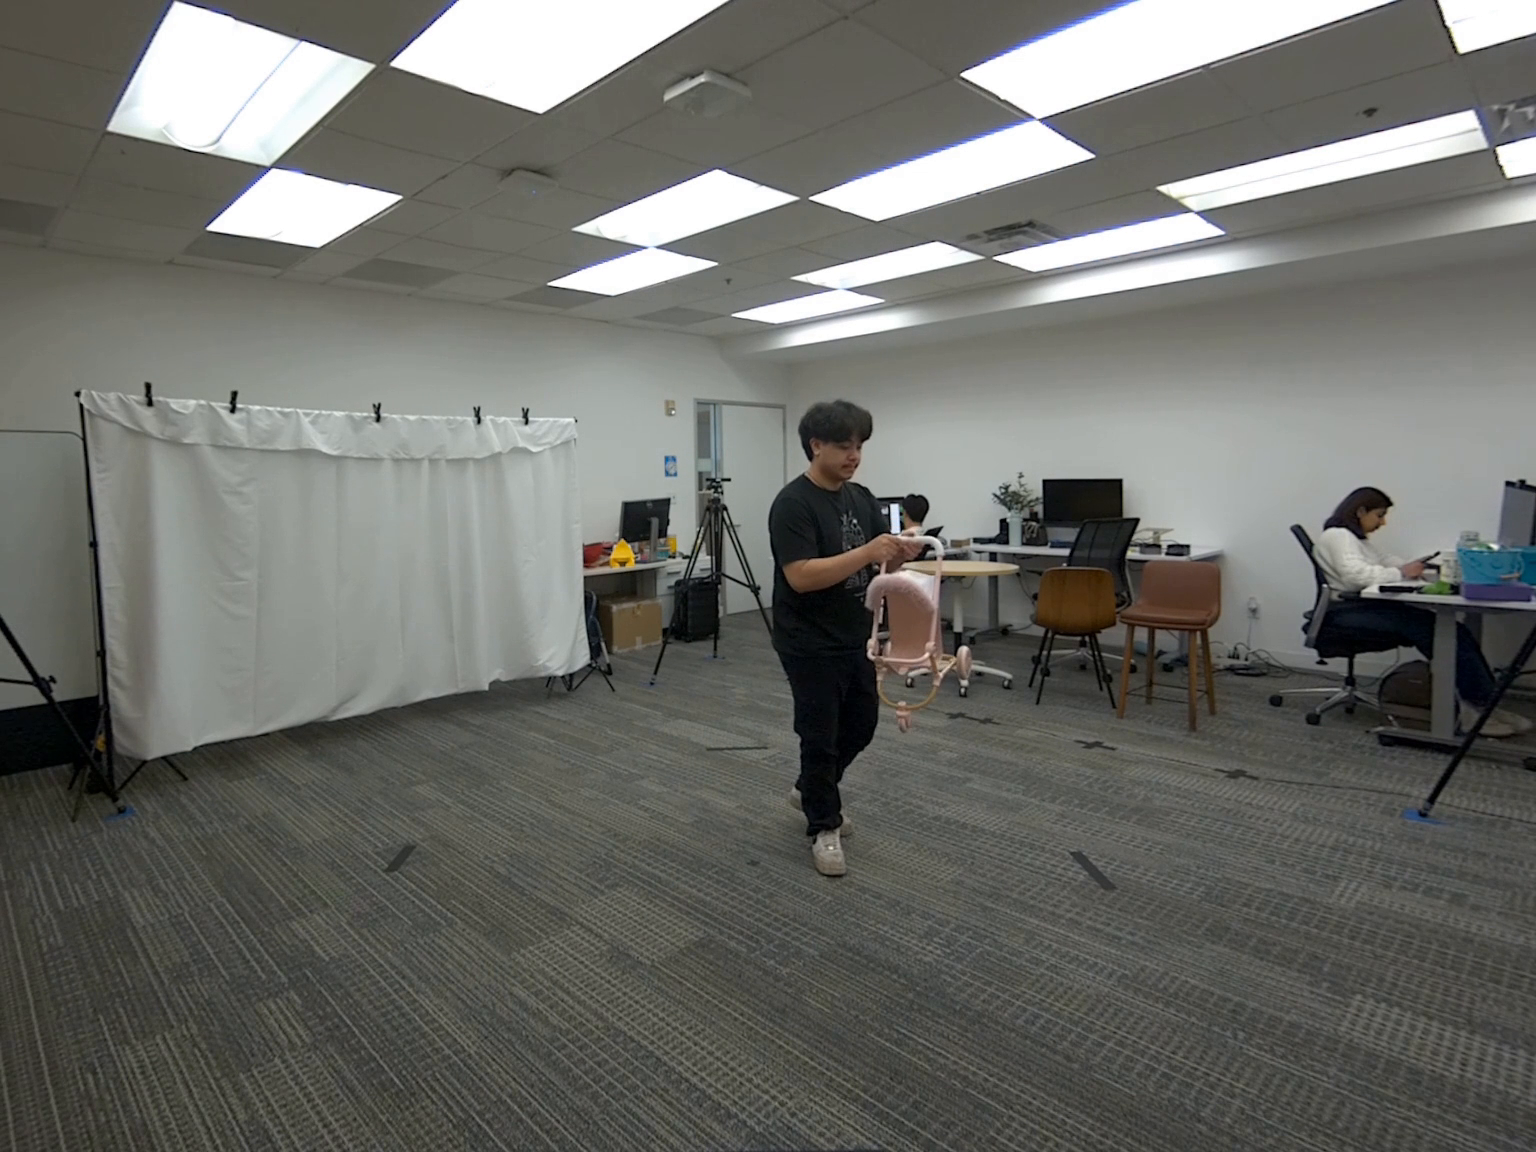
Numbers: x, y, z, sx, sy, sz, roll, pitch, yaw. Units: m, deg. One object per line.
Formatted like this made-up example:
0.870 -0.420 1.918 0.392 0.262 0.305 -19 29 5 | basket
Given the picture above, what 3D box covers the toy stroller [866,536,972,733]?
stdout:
0.439 0.187 2.706 0.289 0.524 0.338 3 25 35 | toy stroller
